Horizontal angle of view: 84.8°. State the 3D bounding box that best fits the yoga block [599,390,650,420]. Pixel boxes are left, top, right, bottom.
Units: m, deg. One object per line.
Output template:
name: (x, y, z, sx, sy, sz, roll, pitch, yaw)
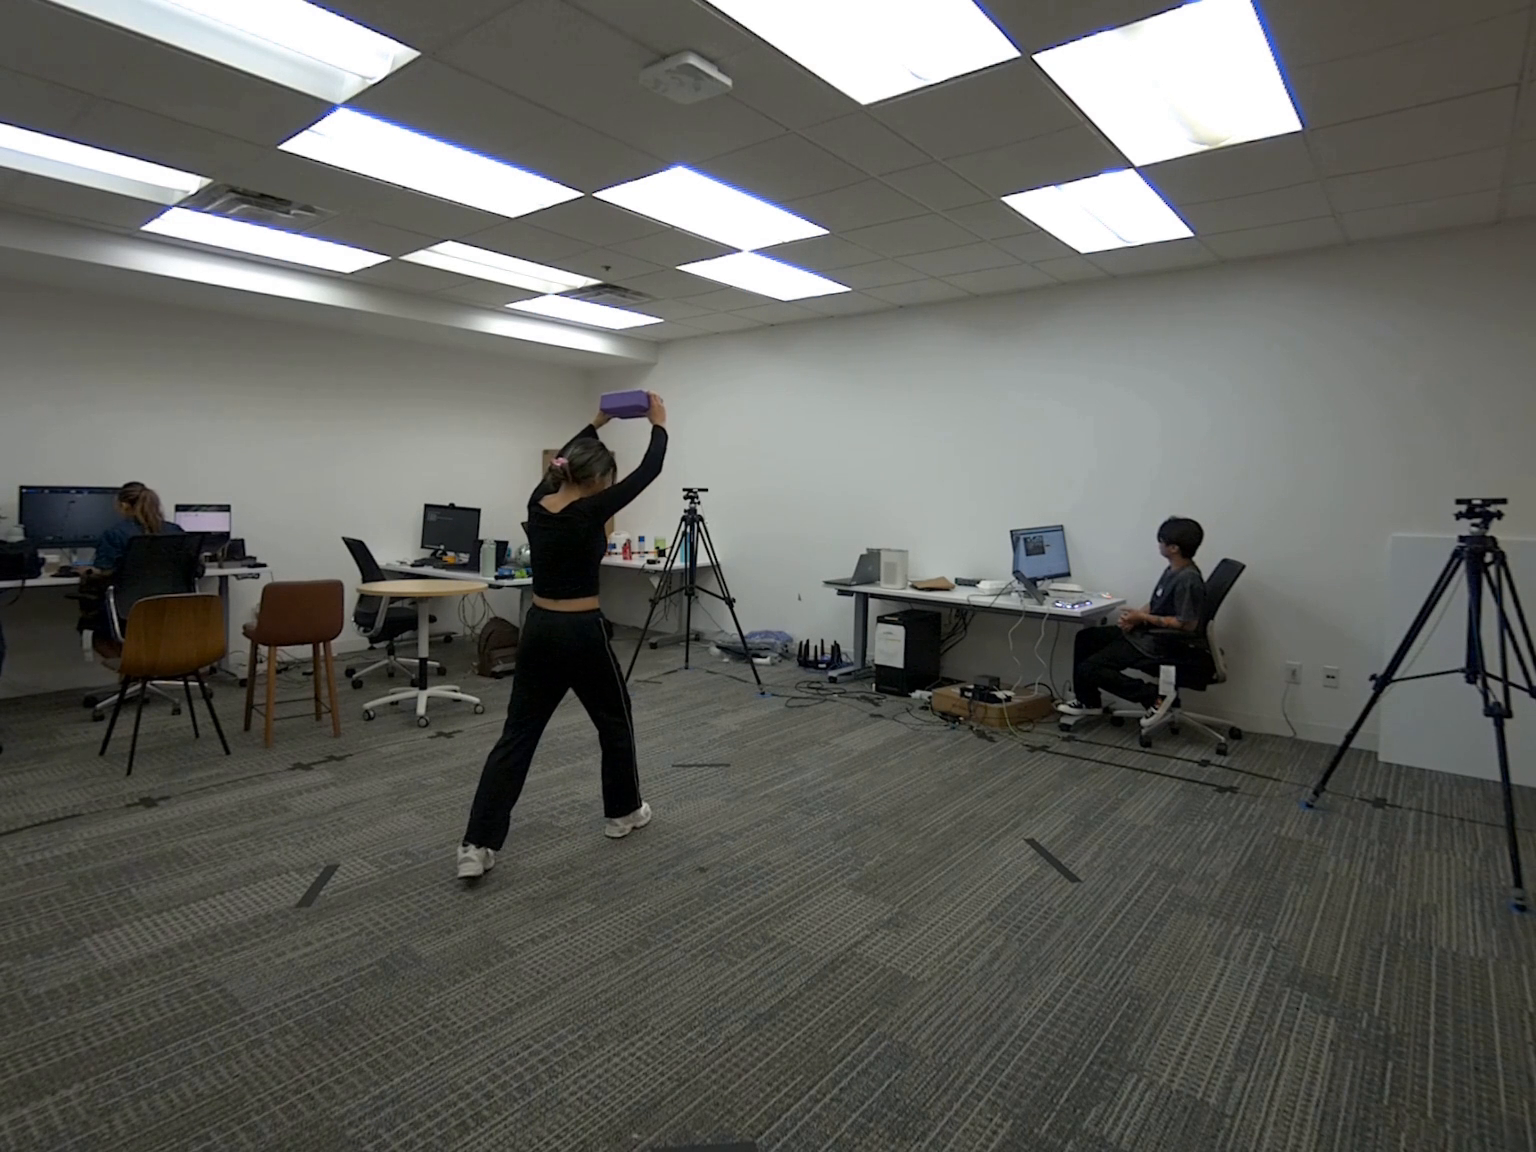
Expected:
yoga block: (-0.589, -0.711, 3.512, 0.236, 0.077, 0.144, 3, -5, 35)
